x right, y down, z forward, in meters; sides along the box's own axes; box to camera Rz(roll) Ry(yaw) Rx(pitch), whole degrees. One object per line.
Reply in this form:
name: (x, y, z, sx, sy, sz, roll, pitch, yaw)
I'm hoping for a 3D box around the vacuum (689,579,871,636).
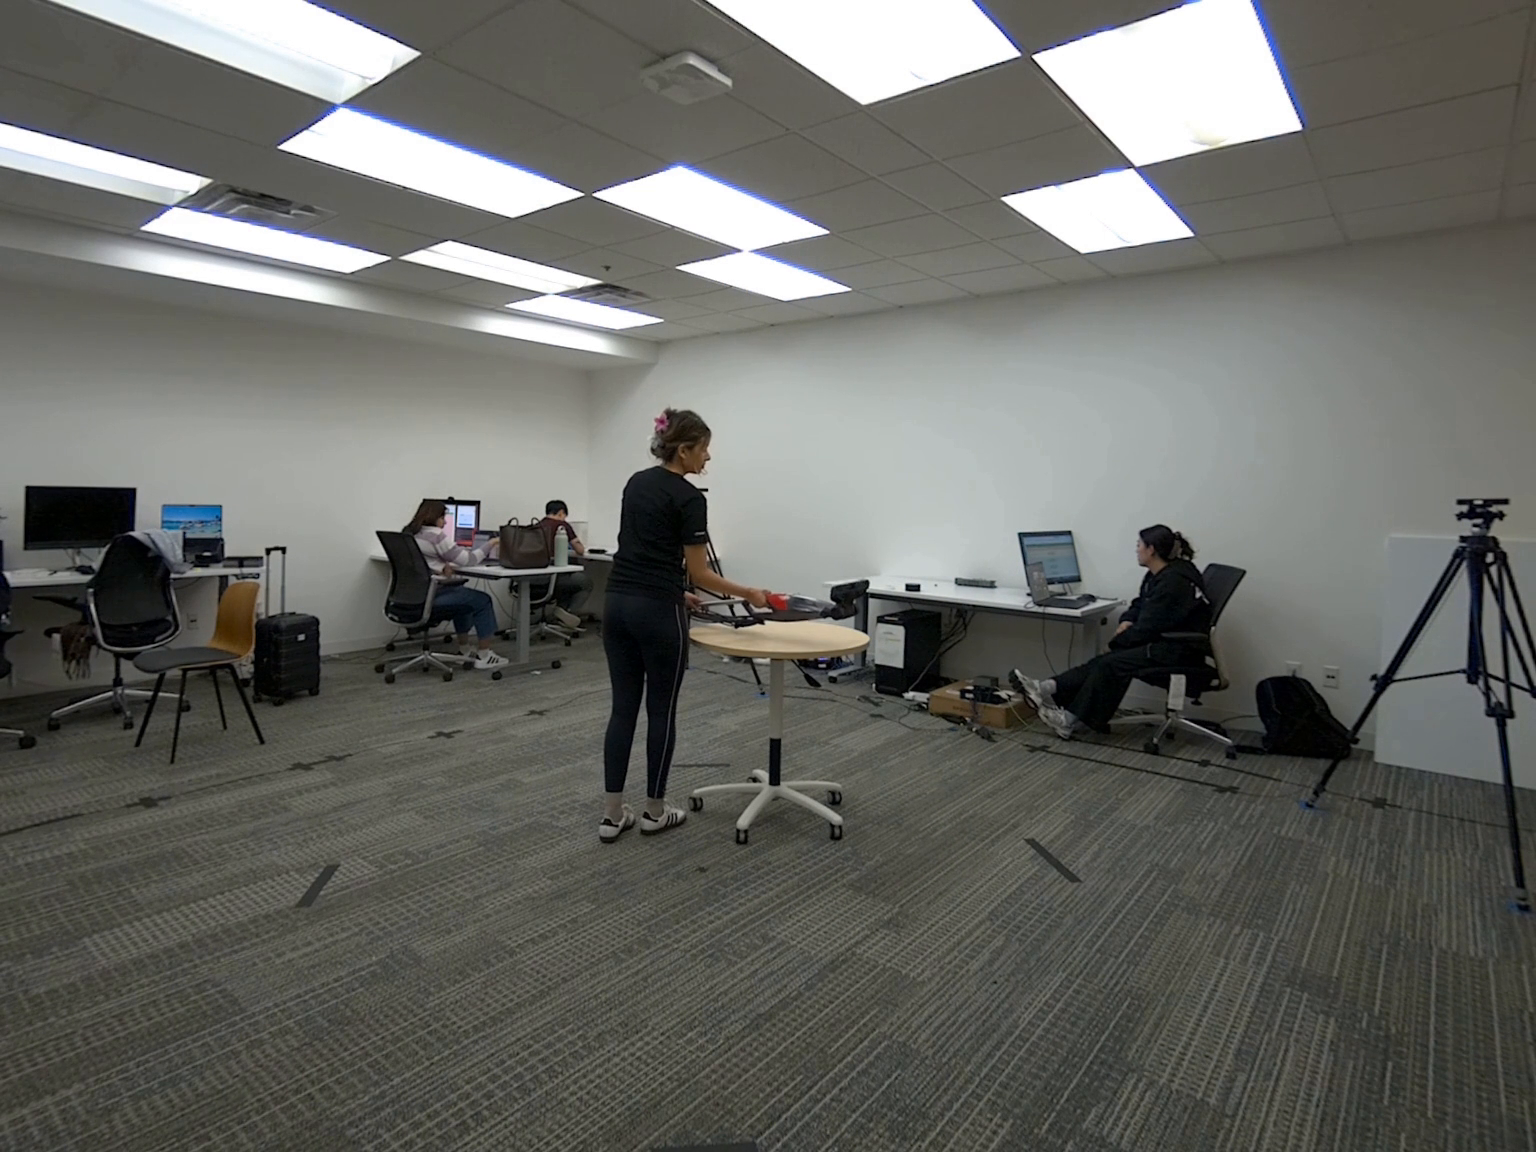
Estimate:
vacuum: (-0.092, 0.151, 3.607, 1.077, 0.144, 0.245, -9, -2, 39)
